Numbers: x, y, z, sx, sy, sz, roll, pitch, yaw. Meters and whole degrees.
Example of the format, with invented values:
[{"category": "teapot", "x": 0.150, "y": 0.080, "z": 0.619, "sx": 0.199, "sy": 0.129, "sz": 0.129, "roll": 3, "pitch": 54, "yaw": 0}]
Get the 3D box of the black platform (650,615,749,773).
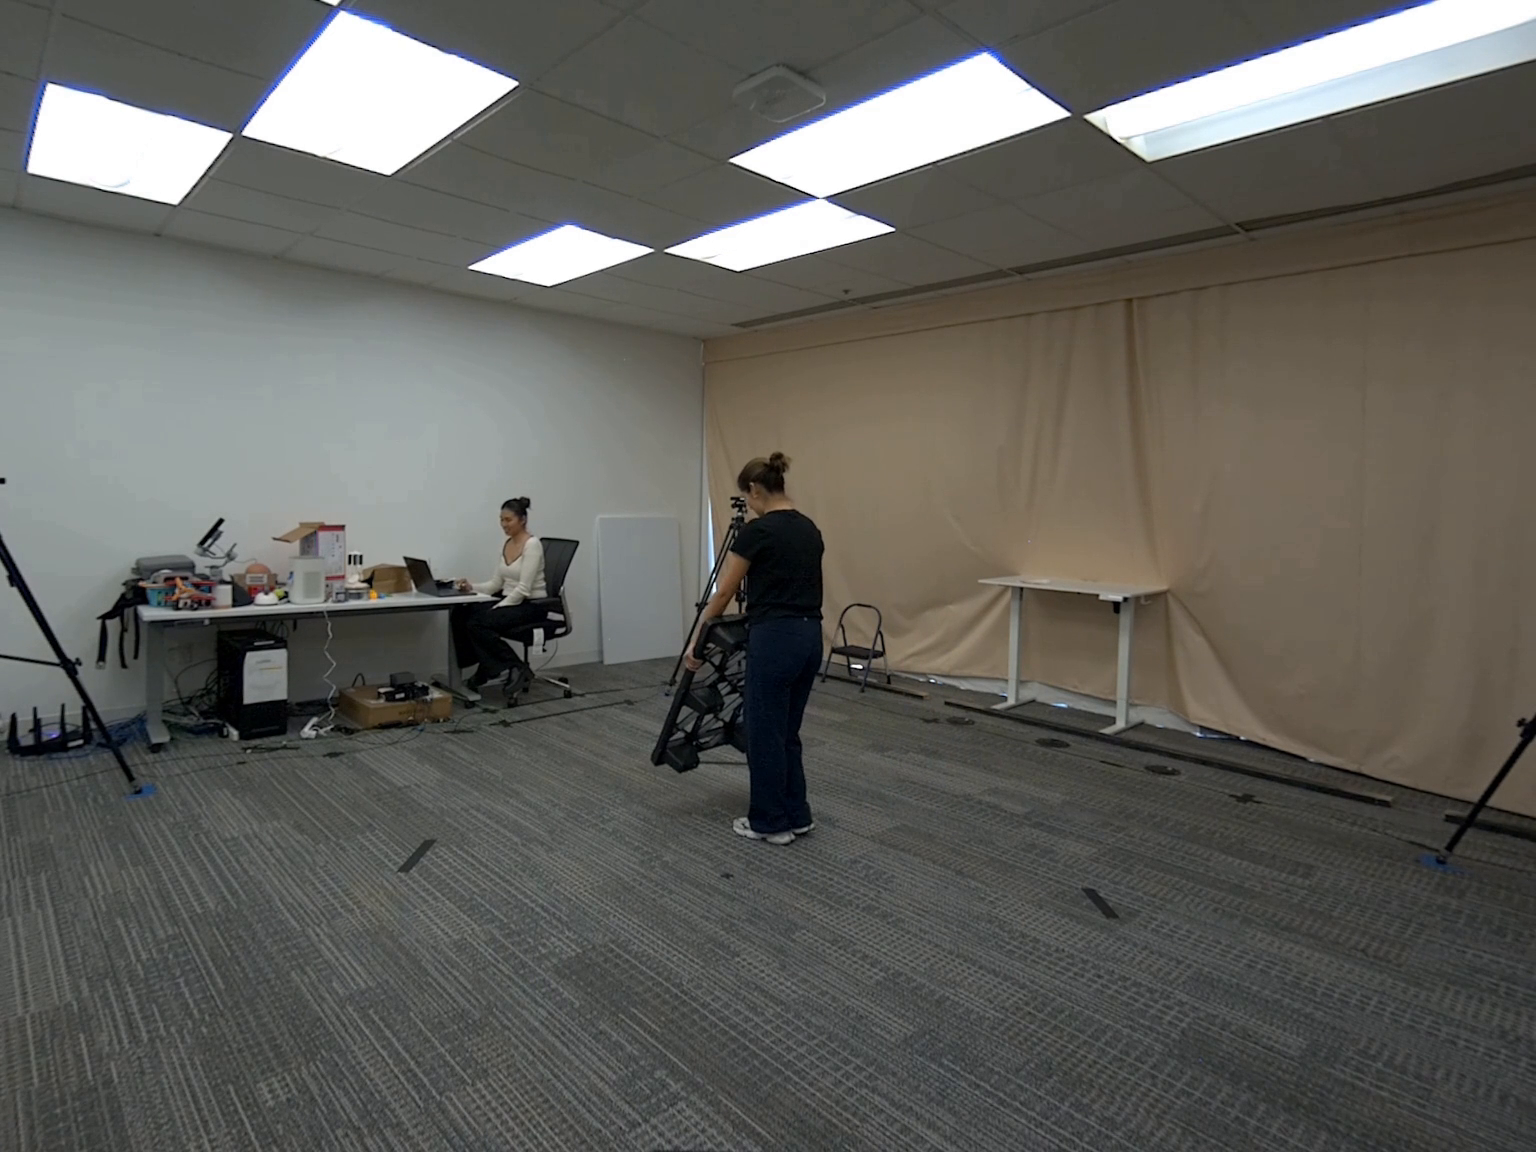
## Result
[{"category": "black platform", "x": -0.143, "y": 0.500, "z": 3.657, "sx": 0.592, "sy": 0.798, "sz": 0.148, "roll": -8, "pitch": 40, "yaw": -44}]
